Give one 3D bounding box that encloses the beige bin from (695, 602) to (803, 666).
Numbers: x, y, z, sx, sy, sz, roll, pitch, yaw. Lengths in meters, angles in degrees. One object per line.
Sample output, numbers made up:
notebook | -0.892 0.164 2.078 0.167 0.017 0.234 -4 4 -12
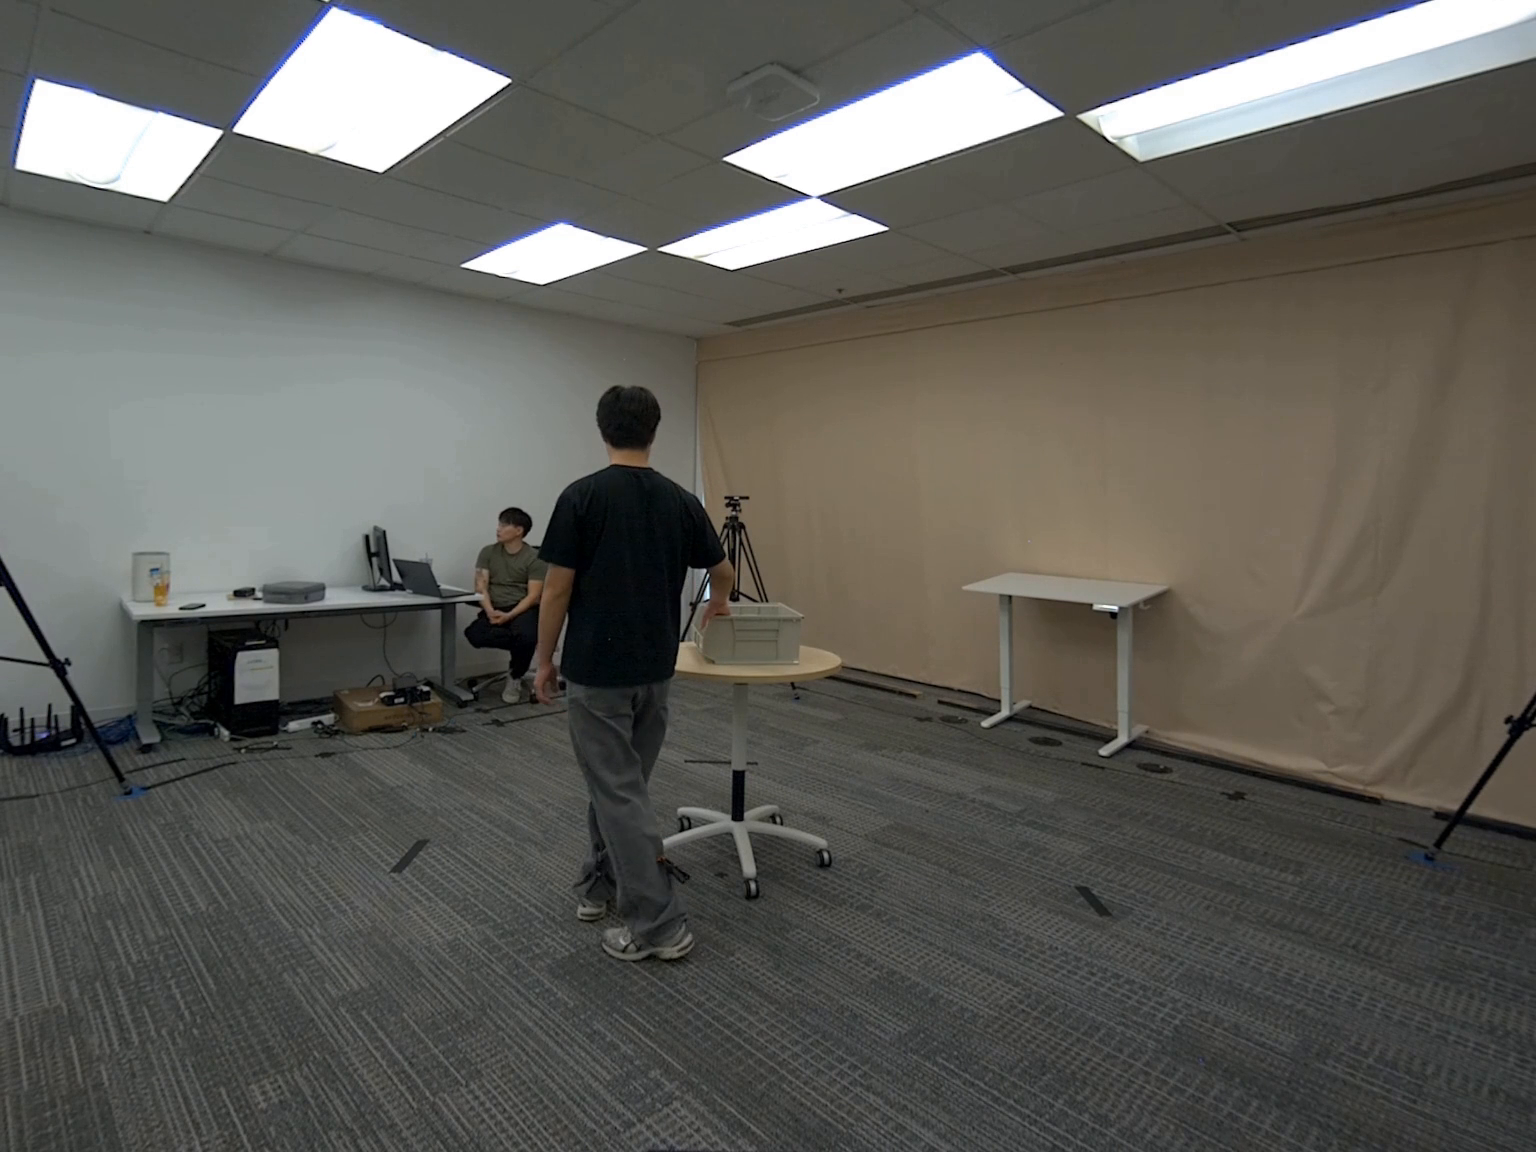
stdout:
beige bin | -0.102 0.215 3.277 0.374 0.188 0.426 2 4 -10
